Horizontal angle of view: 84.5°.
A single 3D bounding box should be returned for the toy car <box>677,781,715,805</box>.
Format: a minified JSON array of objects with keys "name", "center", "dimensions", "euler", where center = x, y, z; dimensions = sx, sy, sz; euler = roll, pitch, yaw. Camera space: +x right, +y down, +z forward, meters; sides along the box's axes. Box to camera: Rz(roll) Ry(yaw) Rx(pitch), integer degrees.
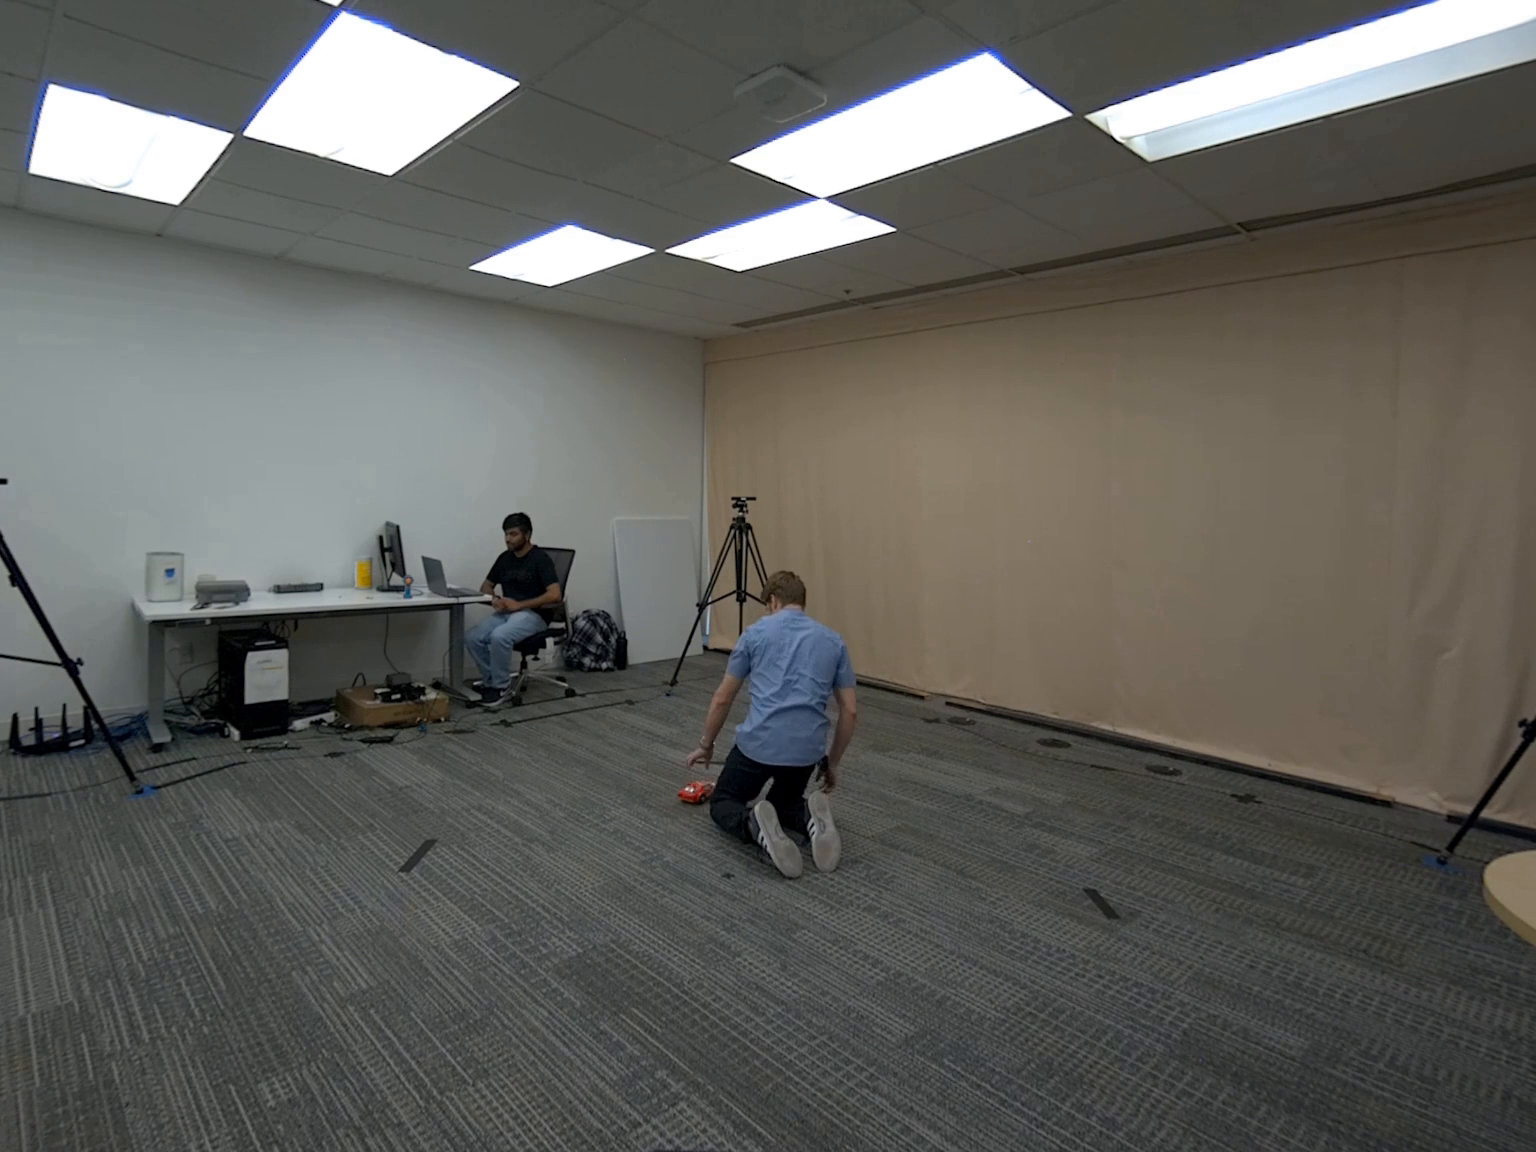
[{"name":"toy car","center":[-0.332,0.999,3.902],"dimensions":[0.133,0.083,0.248],"euler":[4,-6,31]}]
